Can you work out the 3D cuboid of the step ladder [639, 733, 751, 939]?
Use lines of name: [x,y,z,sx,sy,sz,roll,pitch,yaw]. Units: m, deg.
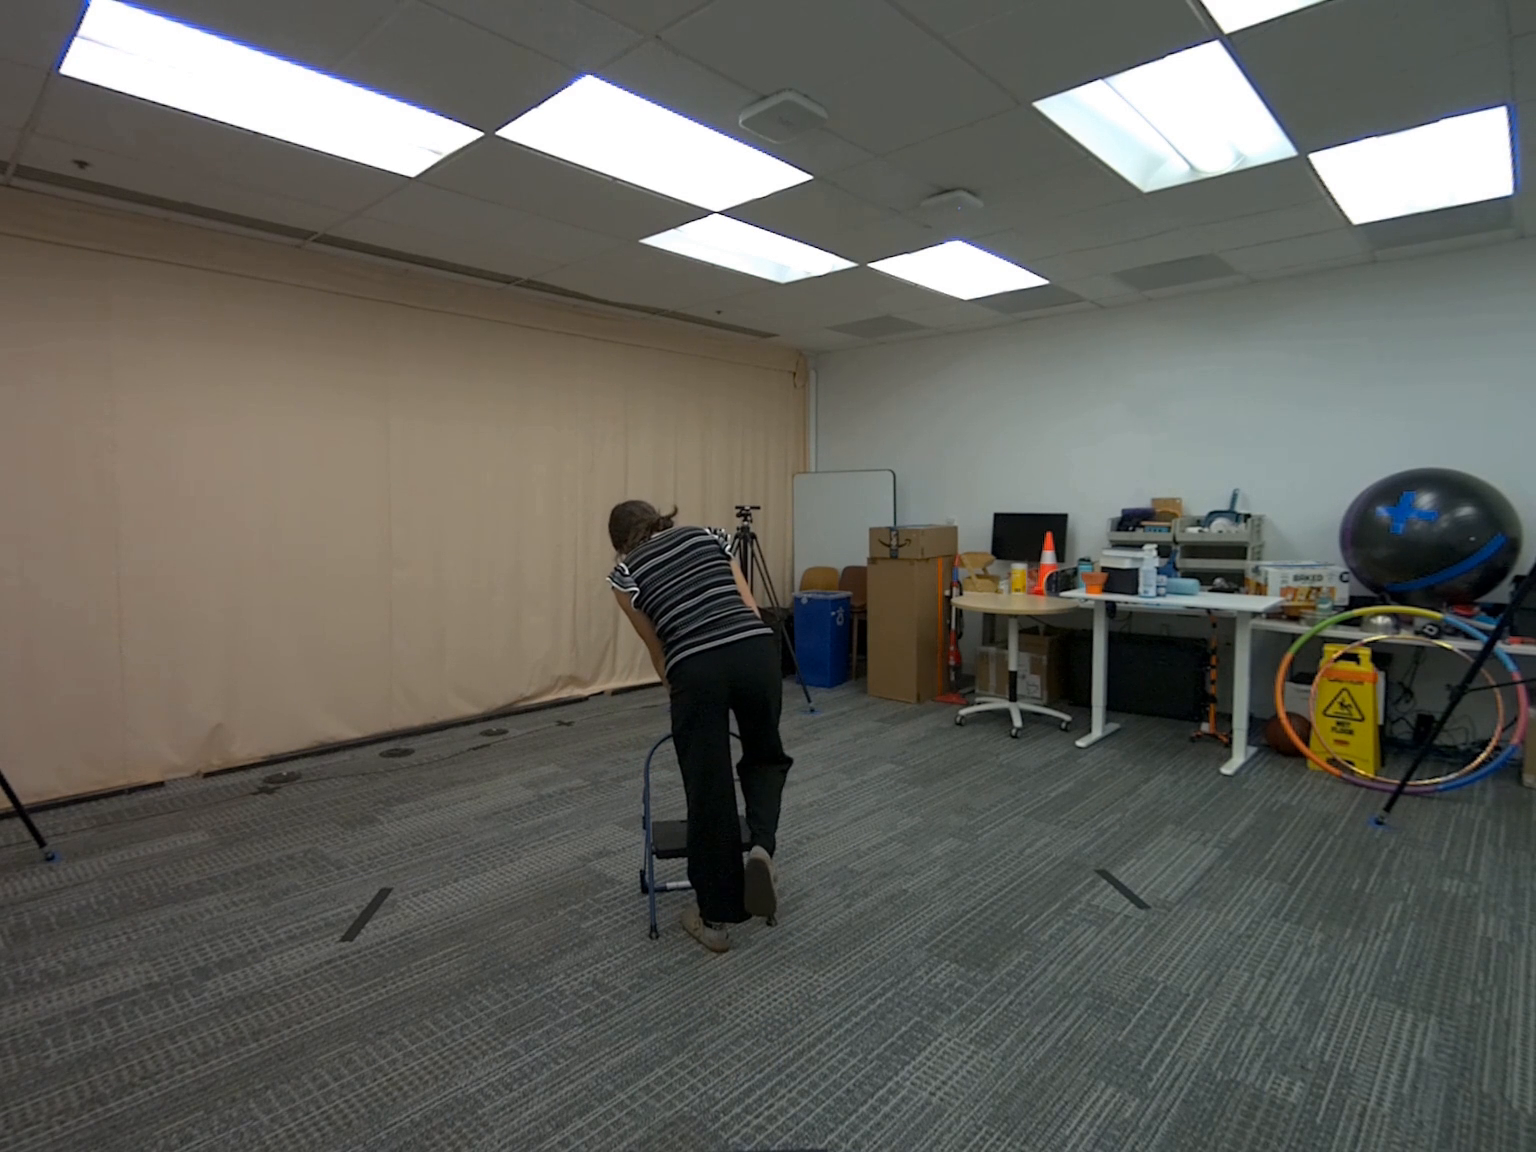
step ladder: [-0.220,0.851,2.906,0.425,0.604,0.355,-1,4,-13]
